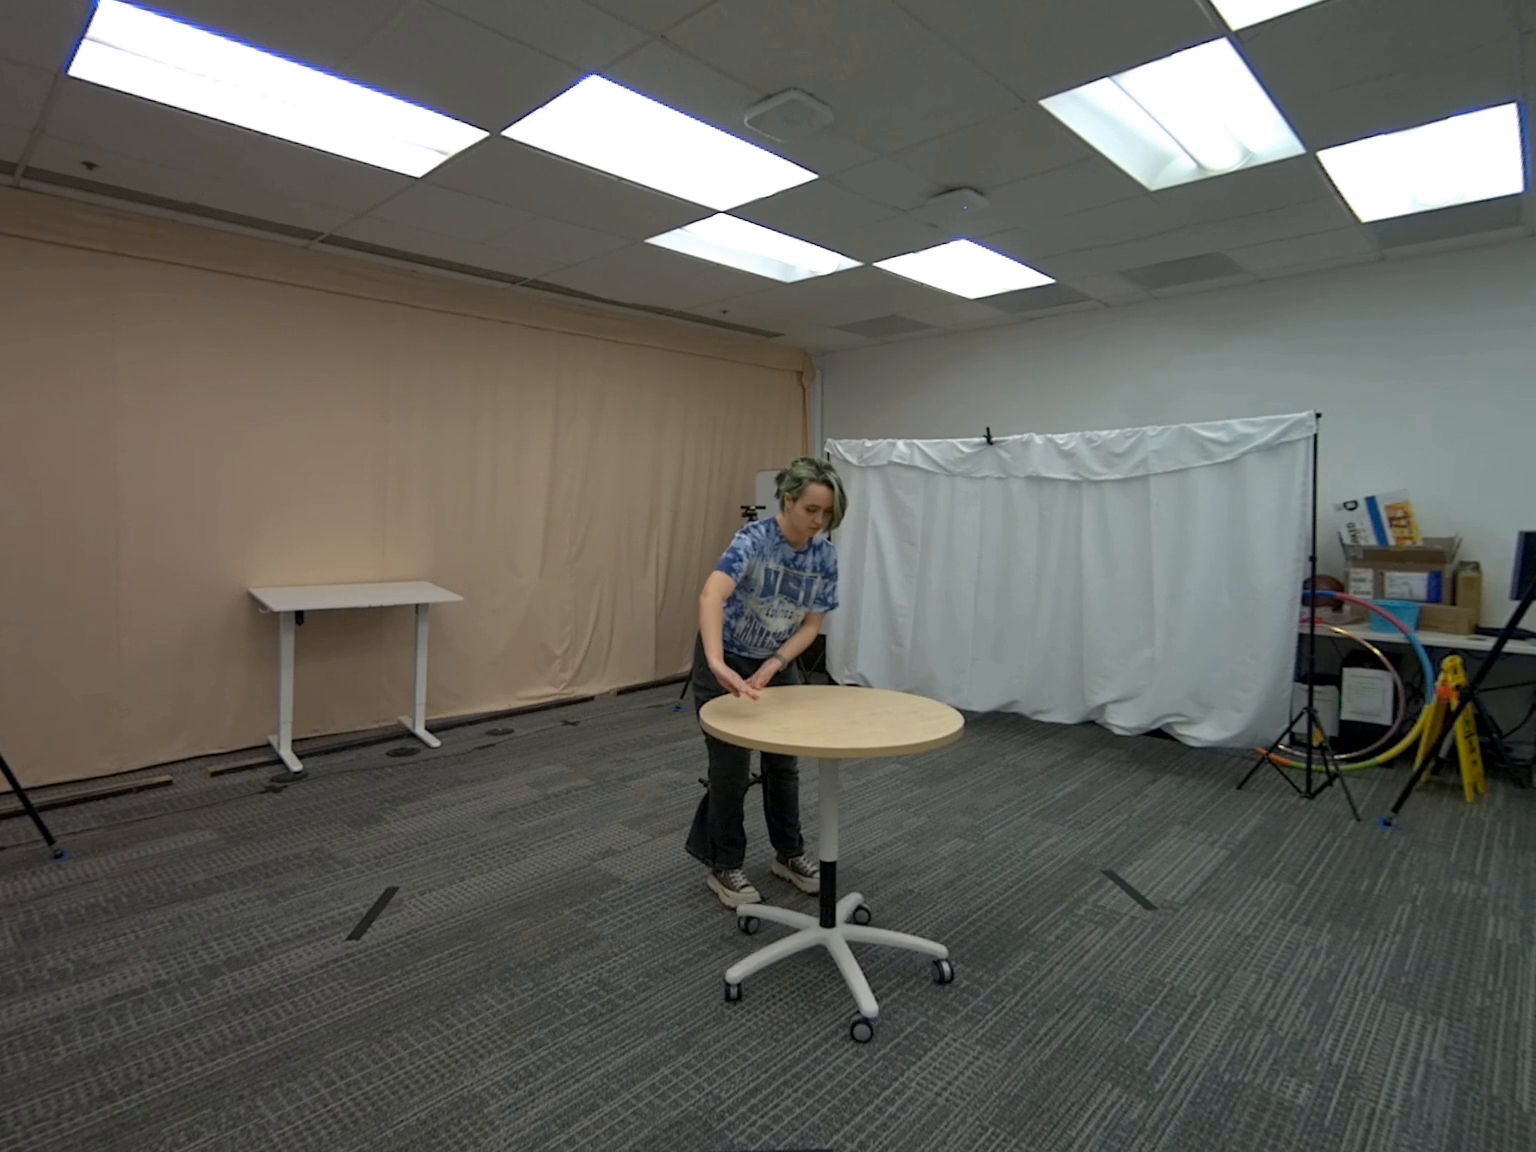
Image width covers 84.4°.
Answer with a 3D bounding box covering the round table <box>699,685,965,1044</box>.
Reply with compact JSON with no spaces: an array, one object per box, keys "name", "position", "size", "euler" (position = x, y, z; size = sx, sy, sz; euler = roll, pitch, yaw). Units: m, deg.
[{"name":"round table","position":[0.191,0.795,2.507],"size":[0.763,0.792,0.766],"euler":[0,3,-2]}]
